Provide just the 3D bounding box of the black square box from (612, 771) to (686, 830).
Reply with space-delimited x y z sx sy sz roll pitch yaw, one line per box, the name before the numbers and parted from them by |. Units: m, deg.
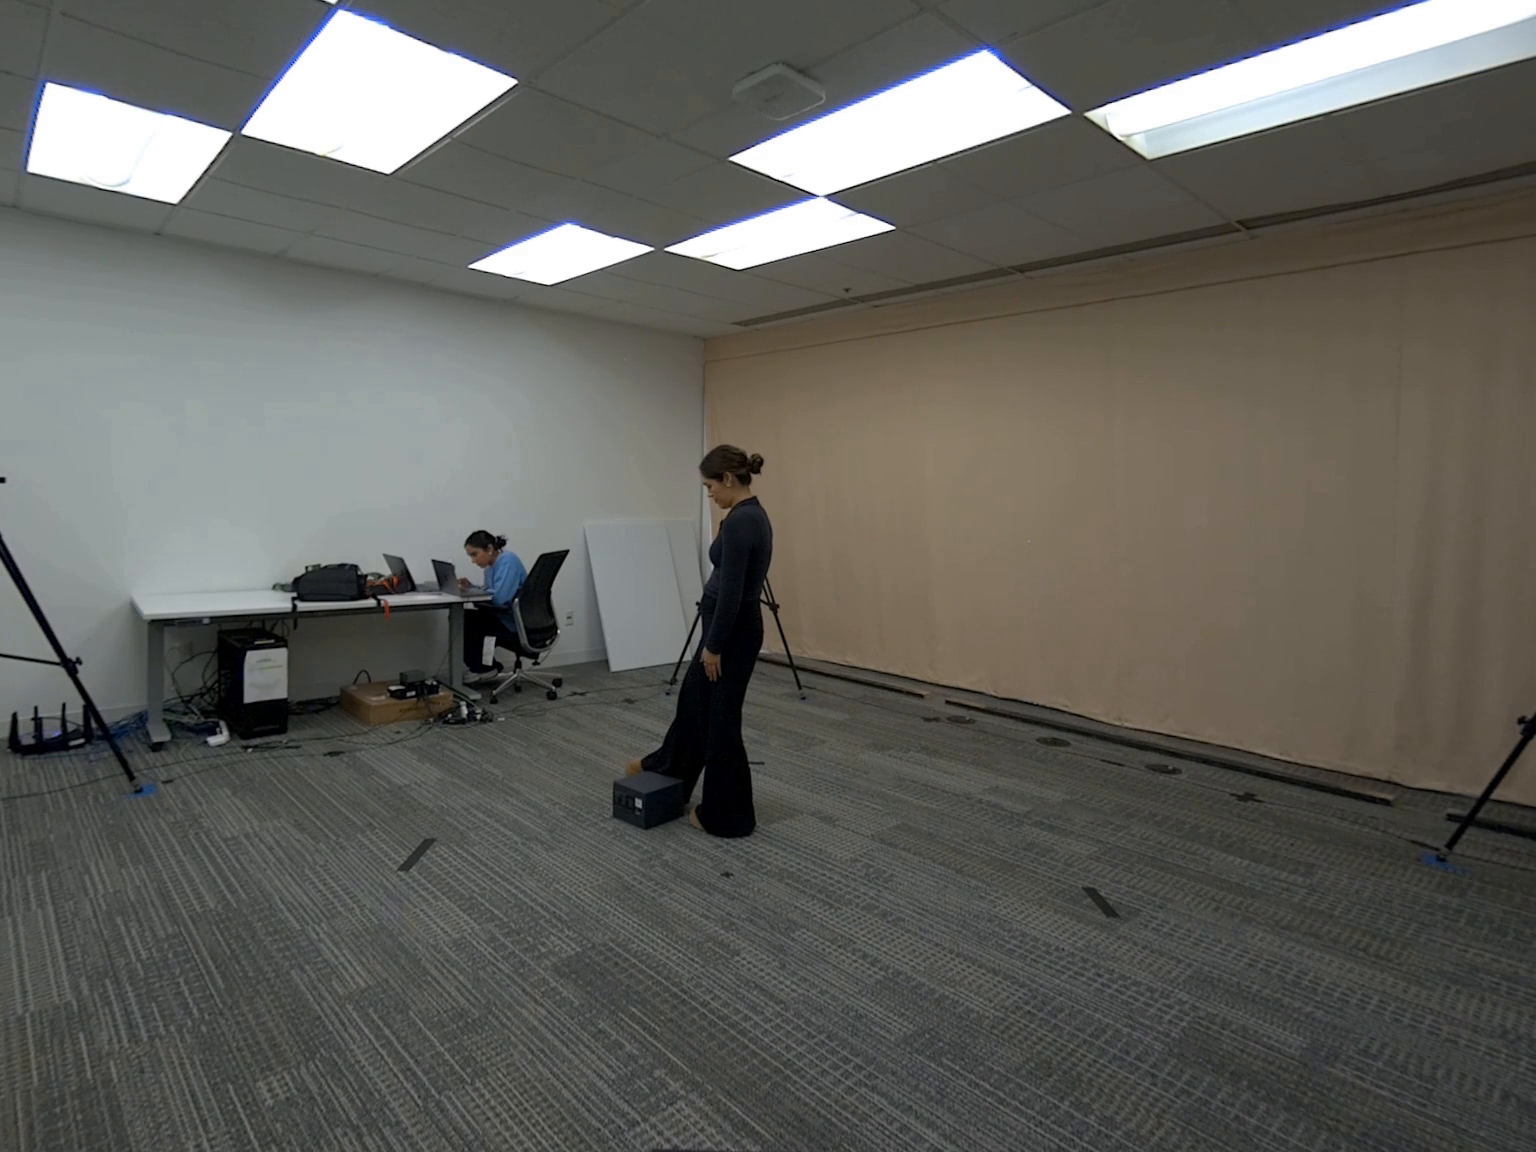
black square box | -0.526 0.959 3.646 0.222 0.155 0.223 3 5 40
